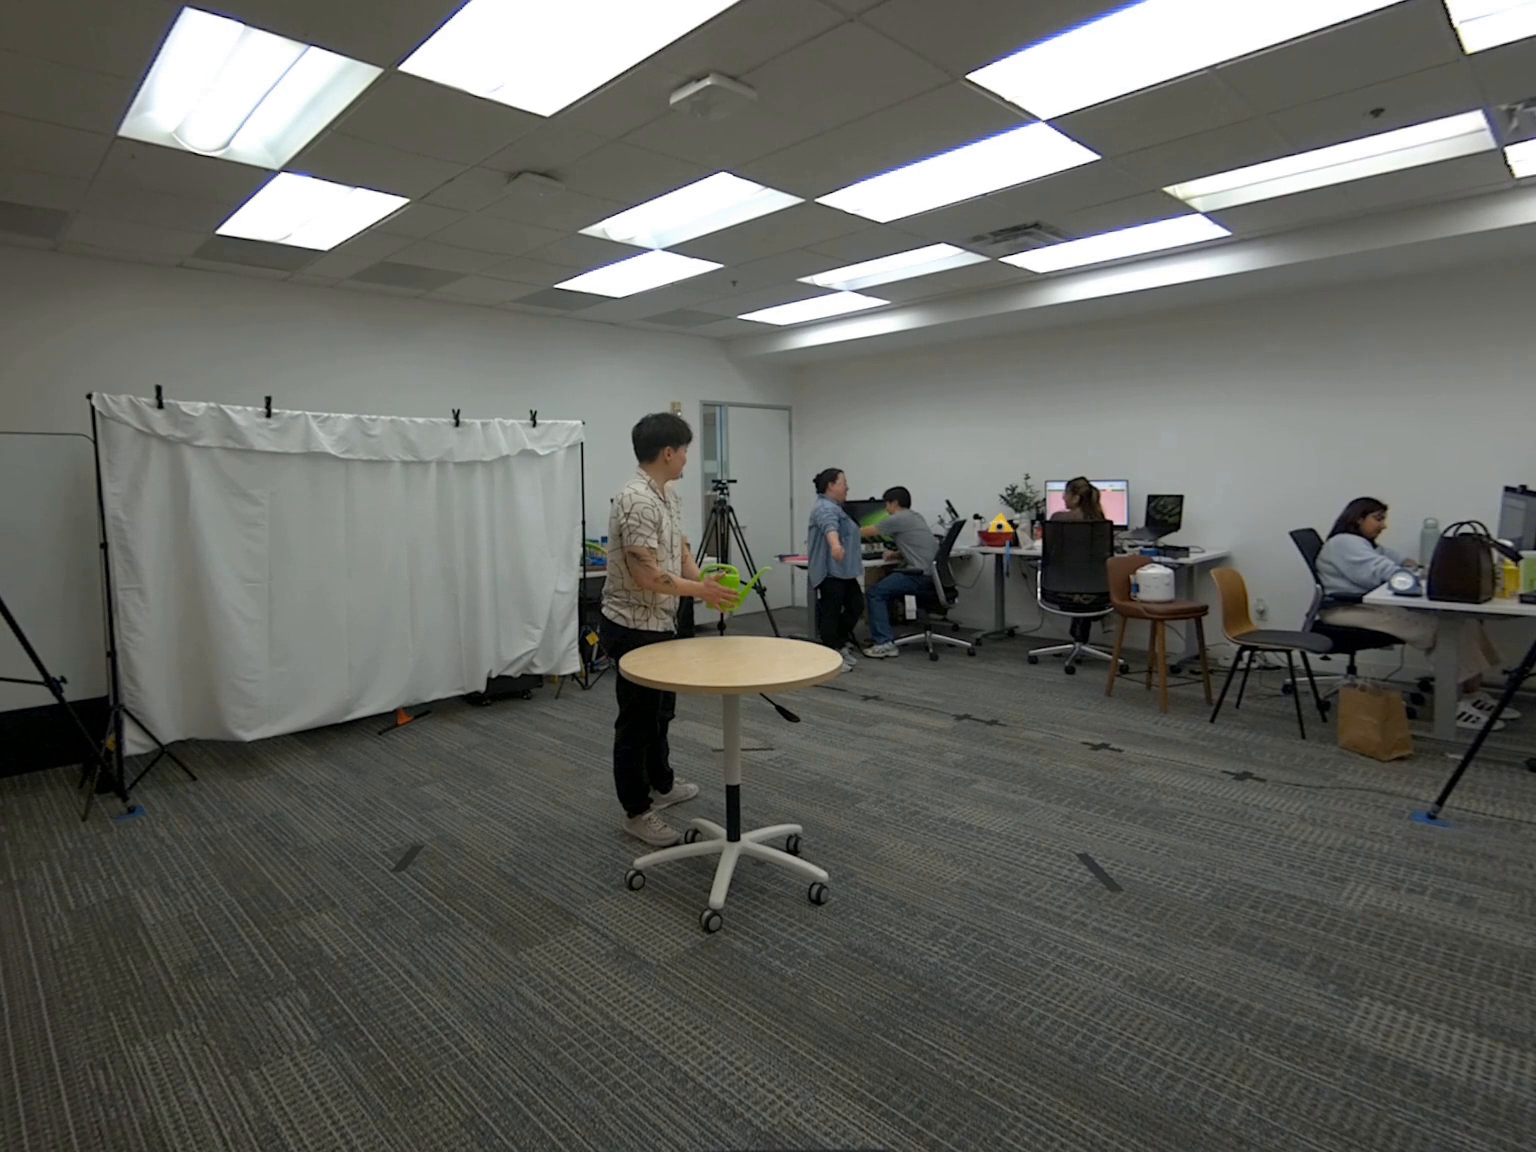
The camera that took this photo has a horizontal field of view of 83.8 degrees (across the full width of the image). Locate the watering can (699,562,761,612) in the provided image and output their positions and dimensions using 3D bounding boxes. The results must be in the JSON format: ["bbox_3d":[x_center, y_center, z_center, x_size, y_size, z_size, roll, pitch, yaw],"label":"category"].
[{"bbox_3d":[-0.139,0.045,3.312,0.284,0.177,0.096,3,1,24],"label":"watering can"}]
